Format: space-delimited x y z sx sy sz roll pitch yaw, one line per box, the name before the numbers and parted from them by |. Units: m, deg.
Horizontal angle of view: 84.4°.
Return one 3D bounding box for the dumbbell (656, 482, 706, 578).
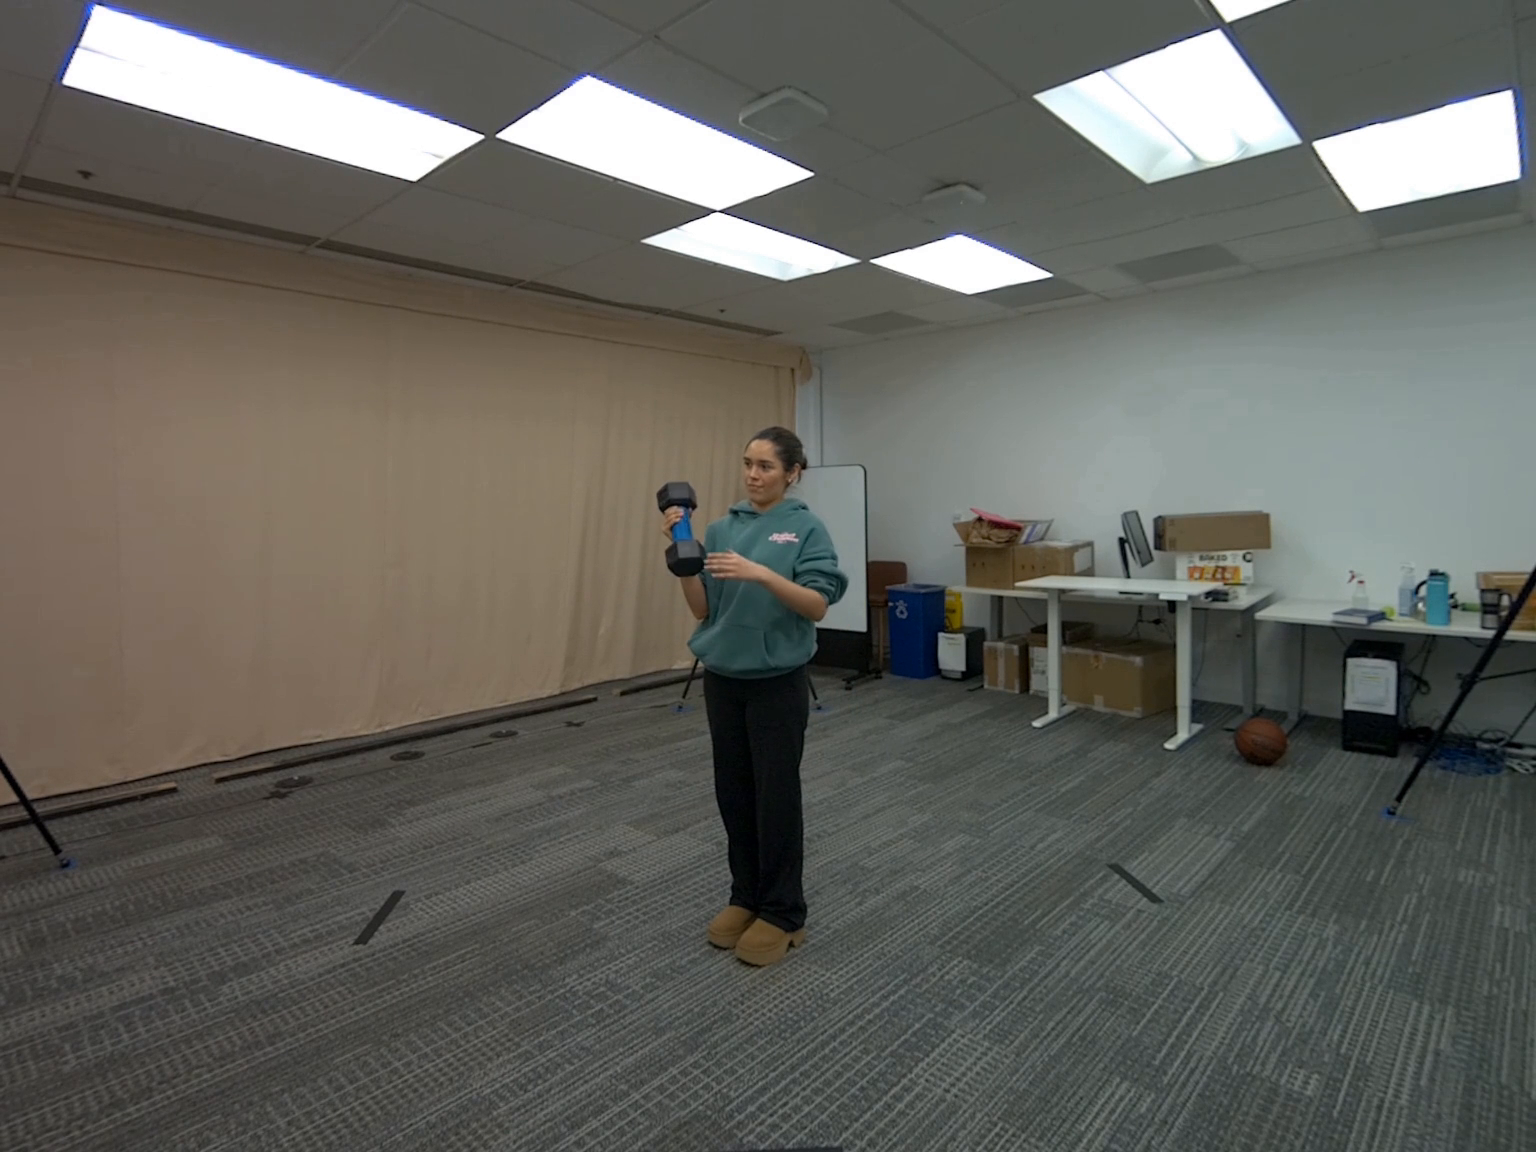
dumbbell | -0.257 -0.143 2.569 0.105 0.300 0.124 14 -39 -37
